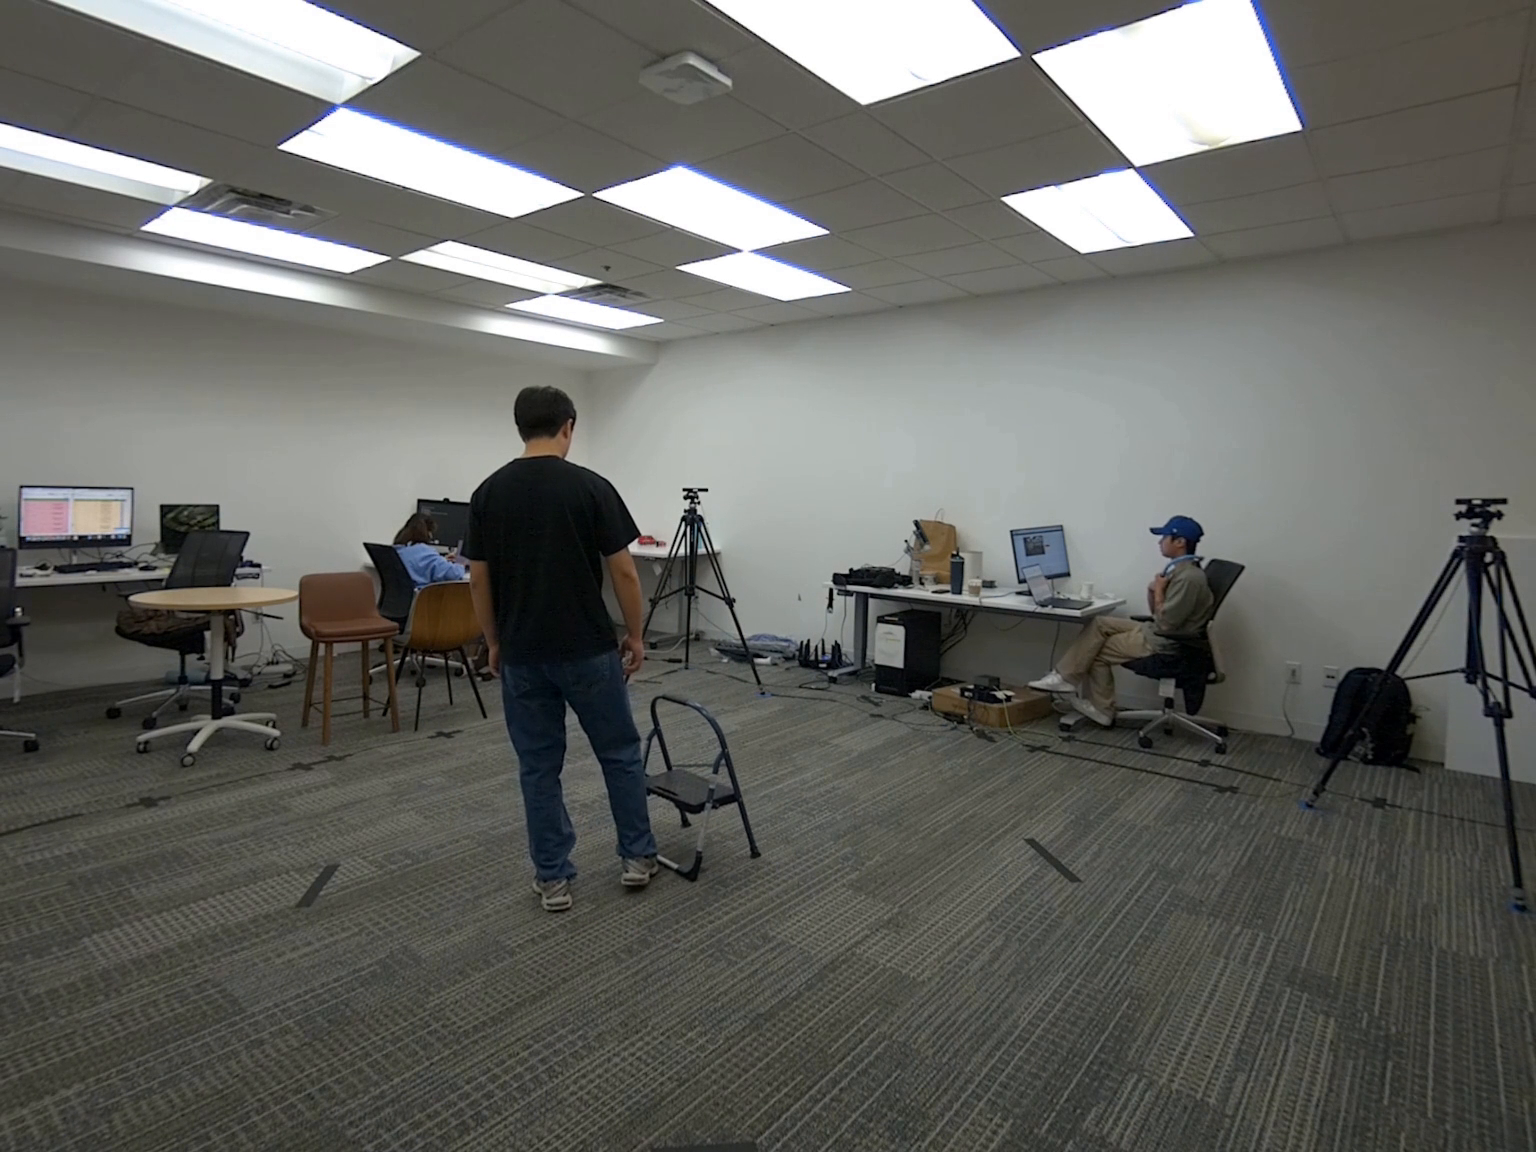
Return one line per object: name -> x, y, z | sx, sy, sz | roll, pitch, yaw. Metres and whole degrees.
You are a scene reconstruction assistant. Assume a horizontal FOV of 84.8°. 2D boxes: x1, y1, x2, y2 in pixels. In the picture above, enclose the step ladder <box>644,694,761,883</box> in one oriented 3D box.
step ladder -> -0.305, 0.749, 3.249 | 0.445, 0.604, 0.339 | 4, 5, 44
